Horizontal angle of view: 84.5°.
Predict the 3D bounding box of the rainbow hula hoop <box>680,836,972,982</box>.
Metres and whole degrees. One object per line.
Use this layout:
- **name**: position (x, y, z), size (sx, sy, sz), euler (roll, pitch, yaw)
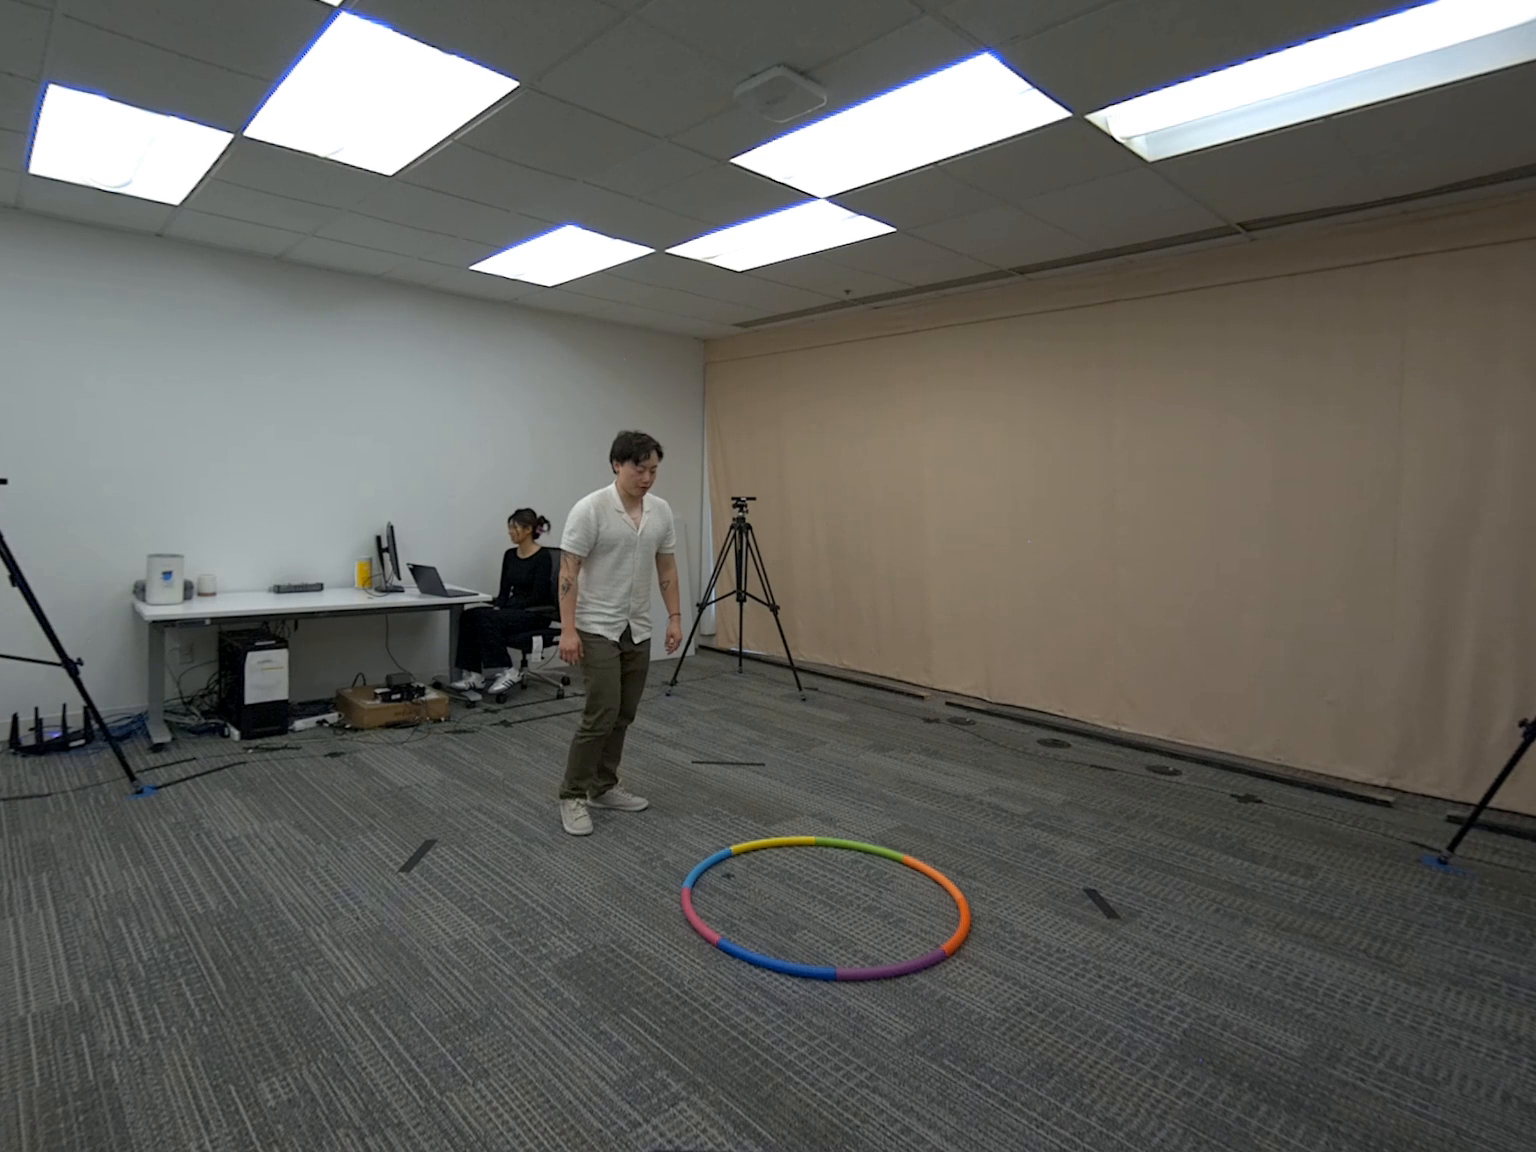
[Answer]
- **rainbow hula hoop**: position (0.181, 1.102, 2.924), size (0.978, 0.035, 0.982), euler (1, 6, -1)
